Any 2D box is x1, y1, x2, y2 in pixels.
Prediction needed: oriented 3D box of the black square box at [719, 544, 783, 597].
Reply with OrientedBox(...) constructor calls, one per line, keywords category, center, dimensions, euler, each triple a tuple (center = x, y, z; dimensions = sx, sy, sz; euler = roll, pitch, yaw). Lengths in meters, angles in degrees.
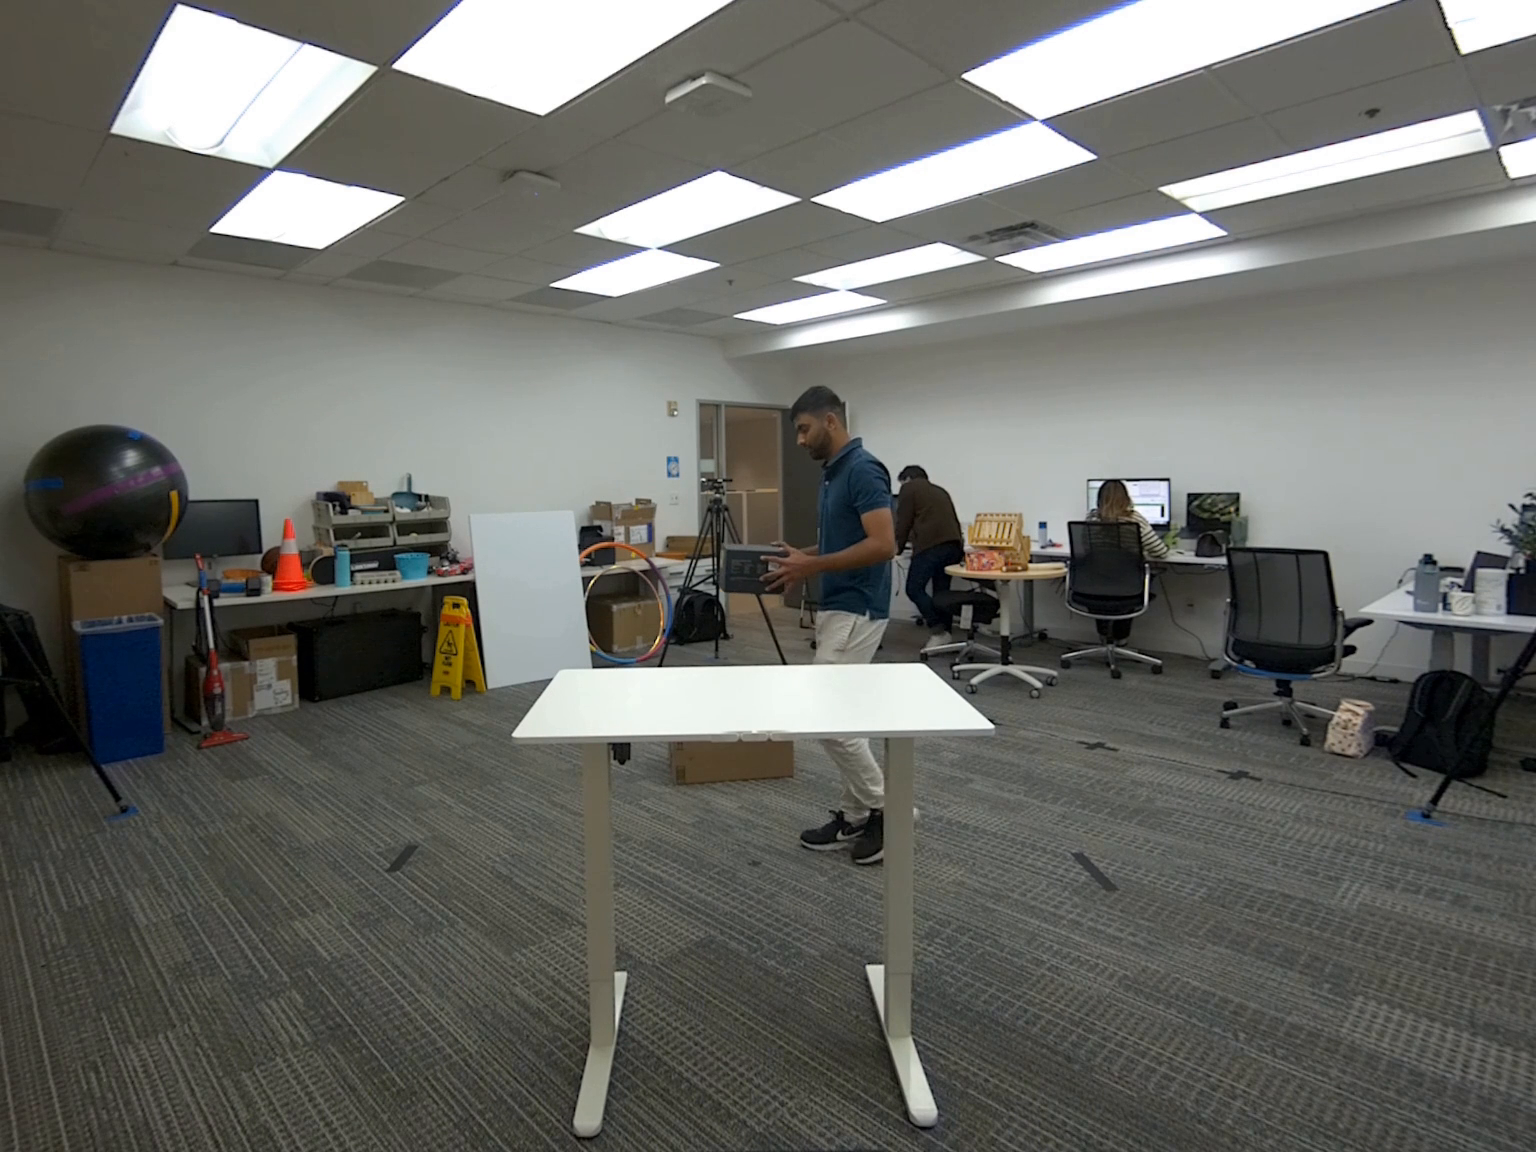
OrientedBox(category="black square box", center=(-0.052, -0.024, 3.117), dimensions=(0.218, 0.155, 0.228), euler=(2, 7, 3))
